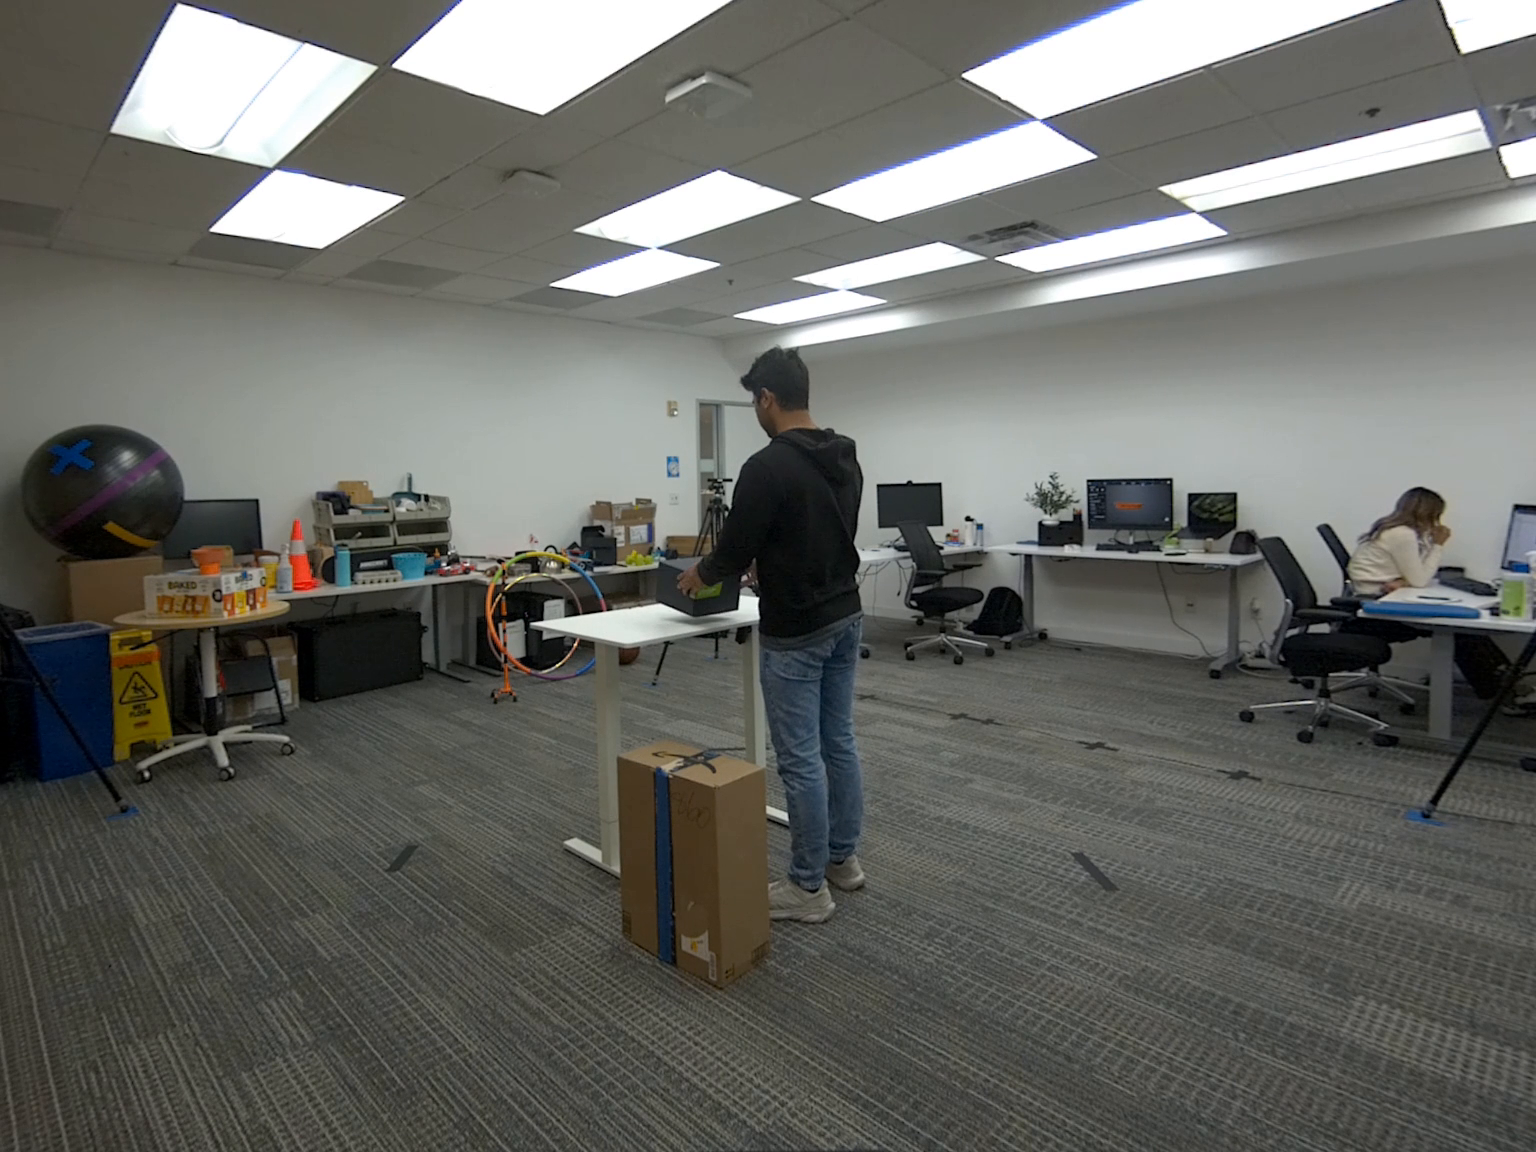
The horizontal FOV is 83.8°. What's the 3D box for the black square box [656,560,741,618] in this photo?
[{"bbox_3d":[-0.258,0.036,3.128,0.225,0.154,0.222,18,17,41],"label":"black square box"}]
